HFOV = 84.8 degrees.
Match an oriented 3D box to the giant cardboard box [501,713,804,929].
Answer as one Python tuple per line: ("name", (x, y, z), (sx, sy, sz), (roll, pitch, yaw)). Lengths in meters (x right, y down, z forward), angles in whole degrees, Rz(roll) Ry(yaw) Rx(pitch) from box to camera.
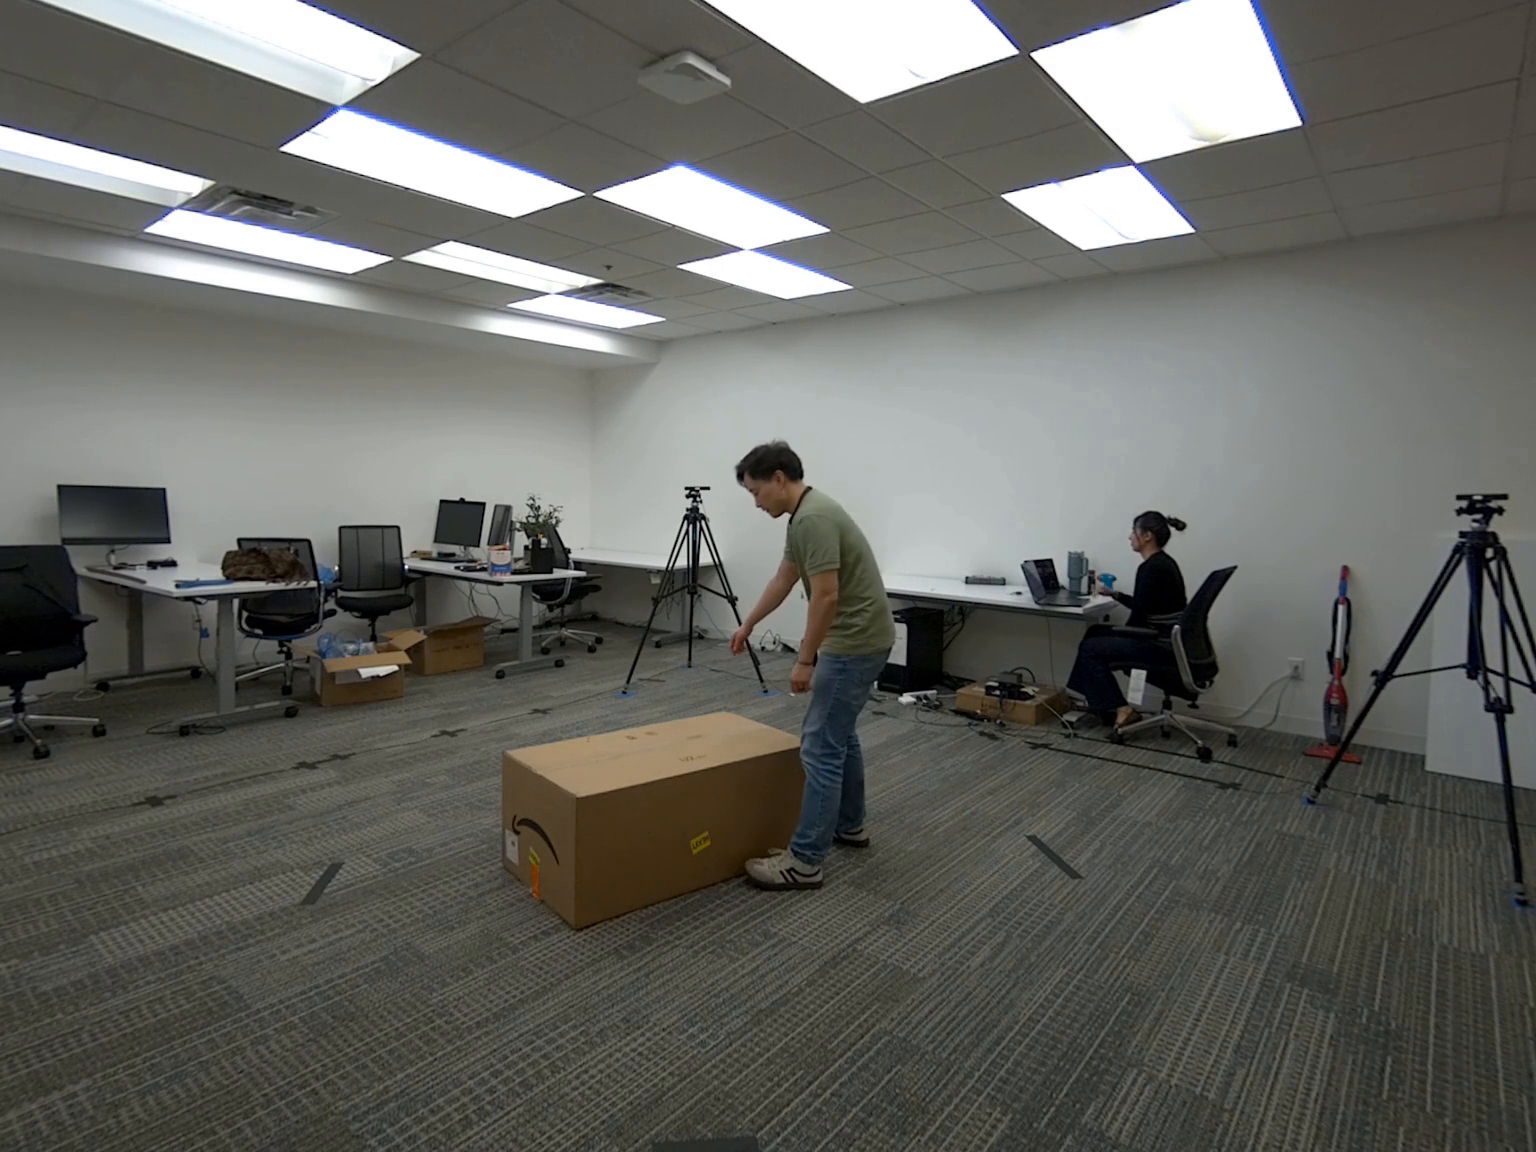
("giant cardboard box", (-0.408, 0.844, 3.168), (0.995, 0.425, 0.597), (-3, 6, -39))
